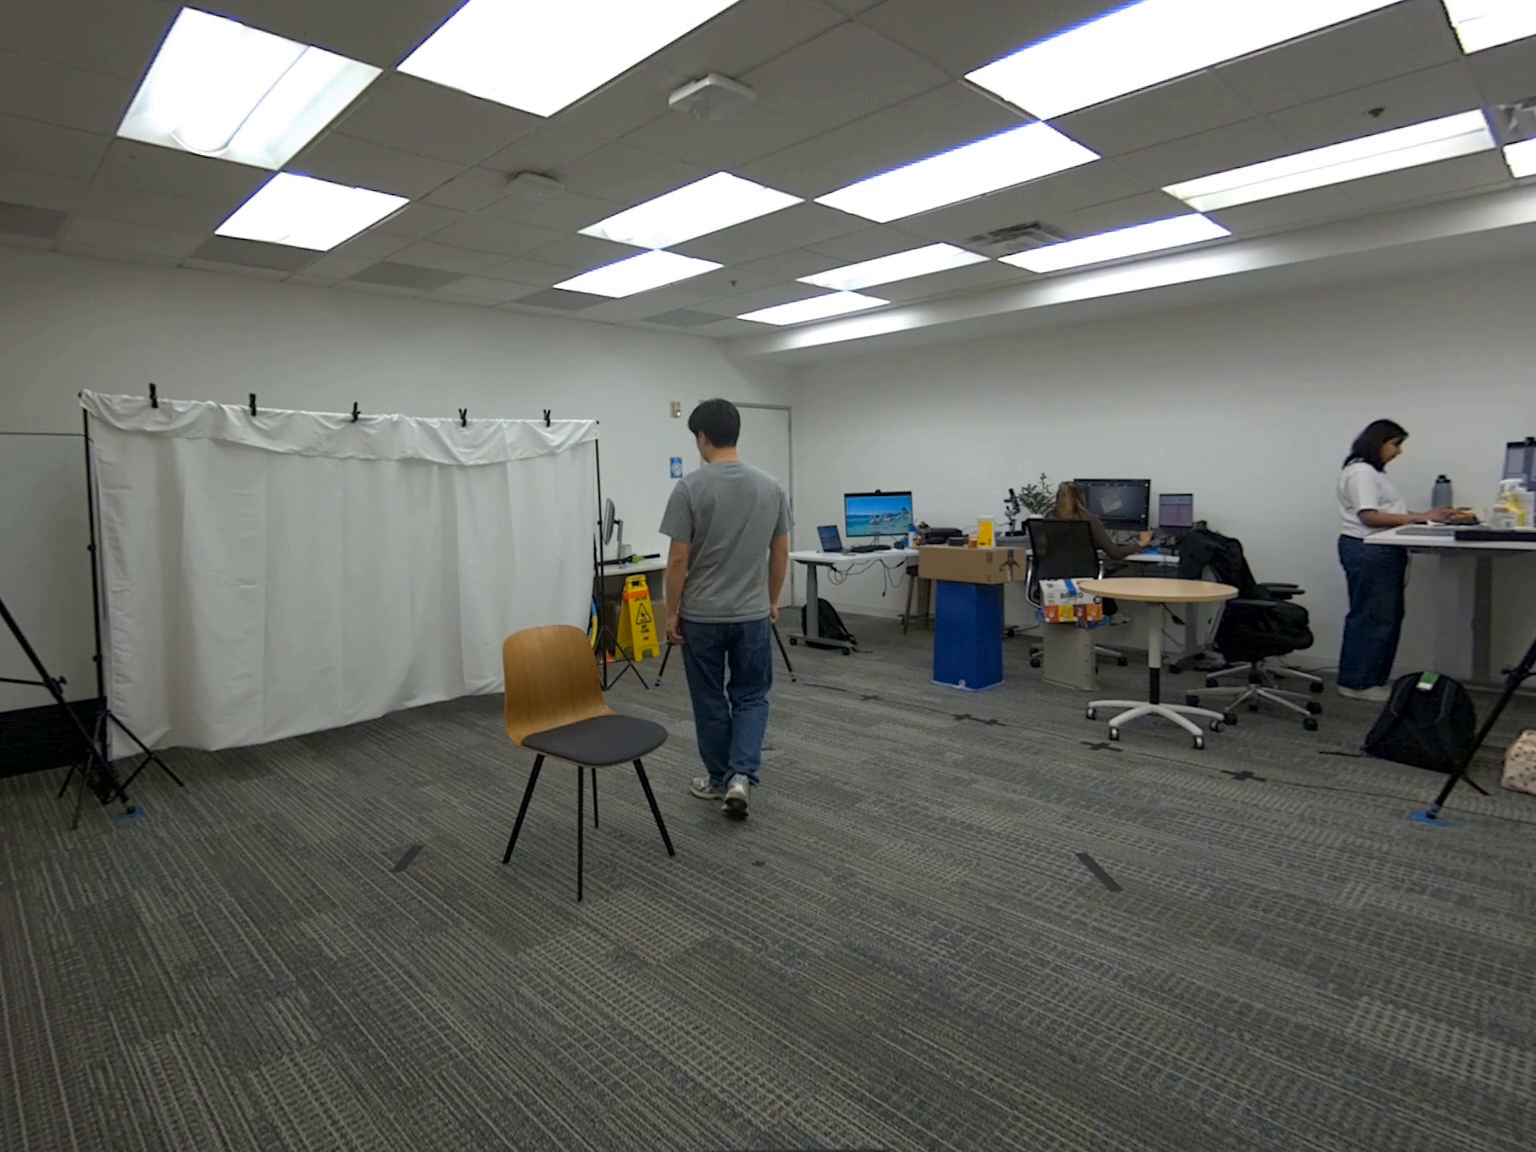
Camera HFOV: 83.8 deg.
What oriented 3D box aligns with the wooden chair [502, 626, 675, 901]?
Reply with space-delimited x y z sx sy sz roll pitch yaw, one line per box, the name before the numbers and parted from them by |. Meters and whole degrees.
wooden chair | -0.665 0.629 3.131 0.537 0.877 0.466 -4 1 41
